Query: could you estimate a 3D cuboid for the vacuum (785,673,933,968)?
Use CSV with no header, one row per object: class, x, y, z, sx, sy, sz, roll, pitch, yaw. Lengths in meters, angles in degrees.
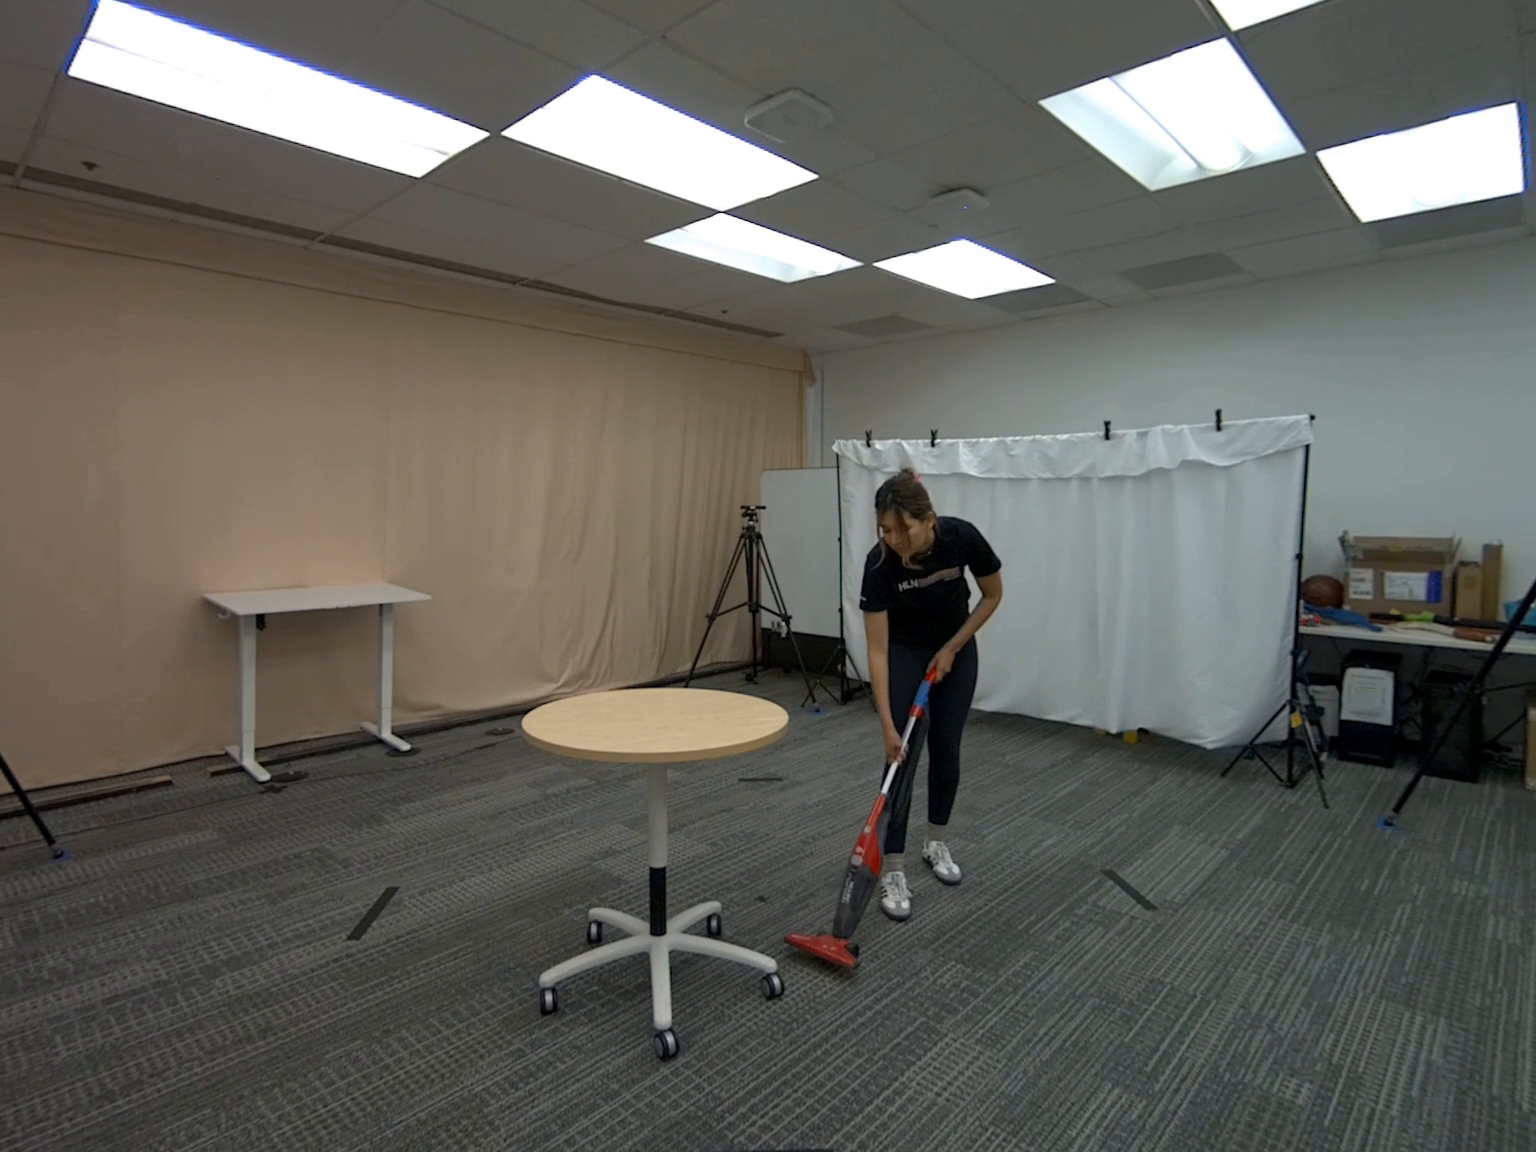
vacuum,0.406,0.752,2.802,0.261,1.049,0.139,7,-34,37
